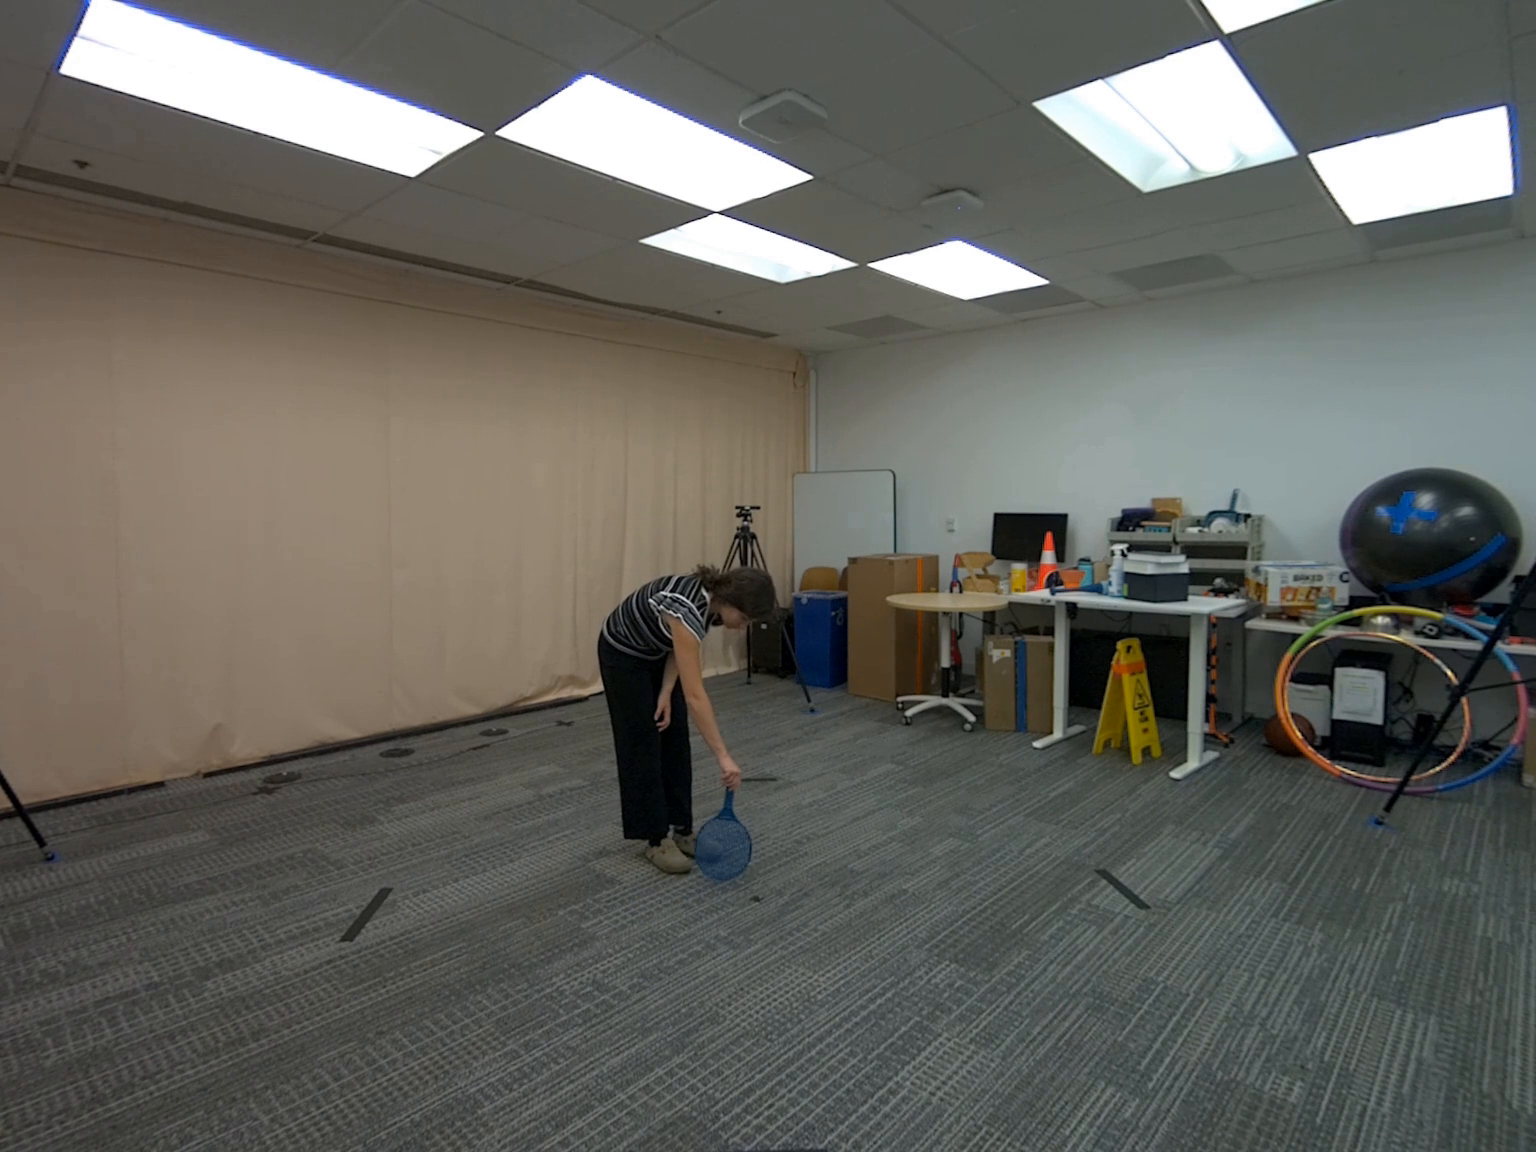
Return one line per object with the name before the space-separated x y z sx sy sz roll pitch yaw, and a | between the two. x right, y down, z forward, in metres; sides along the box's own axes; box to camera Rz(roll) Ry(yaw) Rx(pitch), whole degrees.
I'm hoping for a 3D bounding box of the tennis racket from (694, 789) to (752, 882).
tennis racket | -0.160 0.924 3.085 0.214 0.429 0.032 4 14 1
